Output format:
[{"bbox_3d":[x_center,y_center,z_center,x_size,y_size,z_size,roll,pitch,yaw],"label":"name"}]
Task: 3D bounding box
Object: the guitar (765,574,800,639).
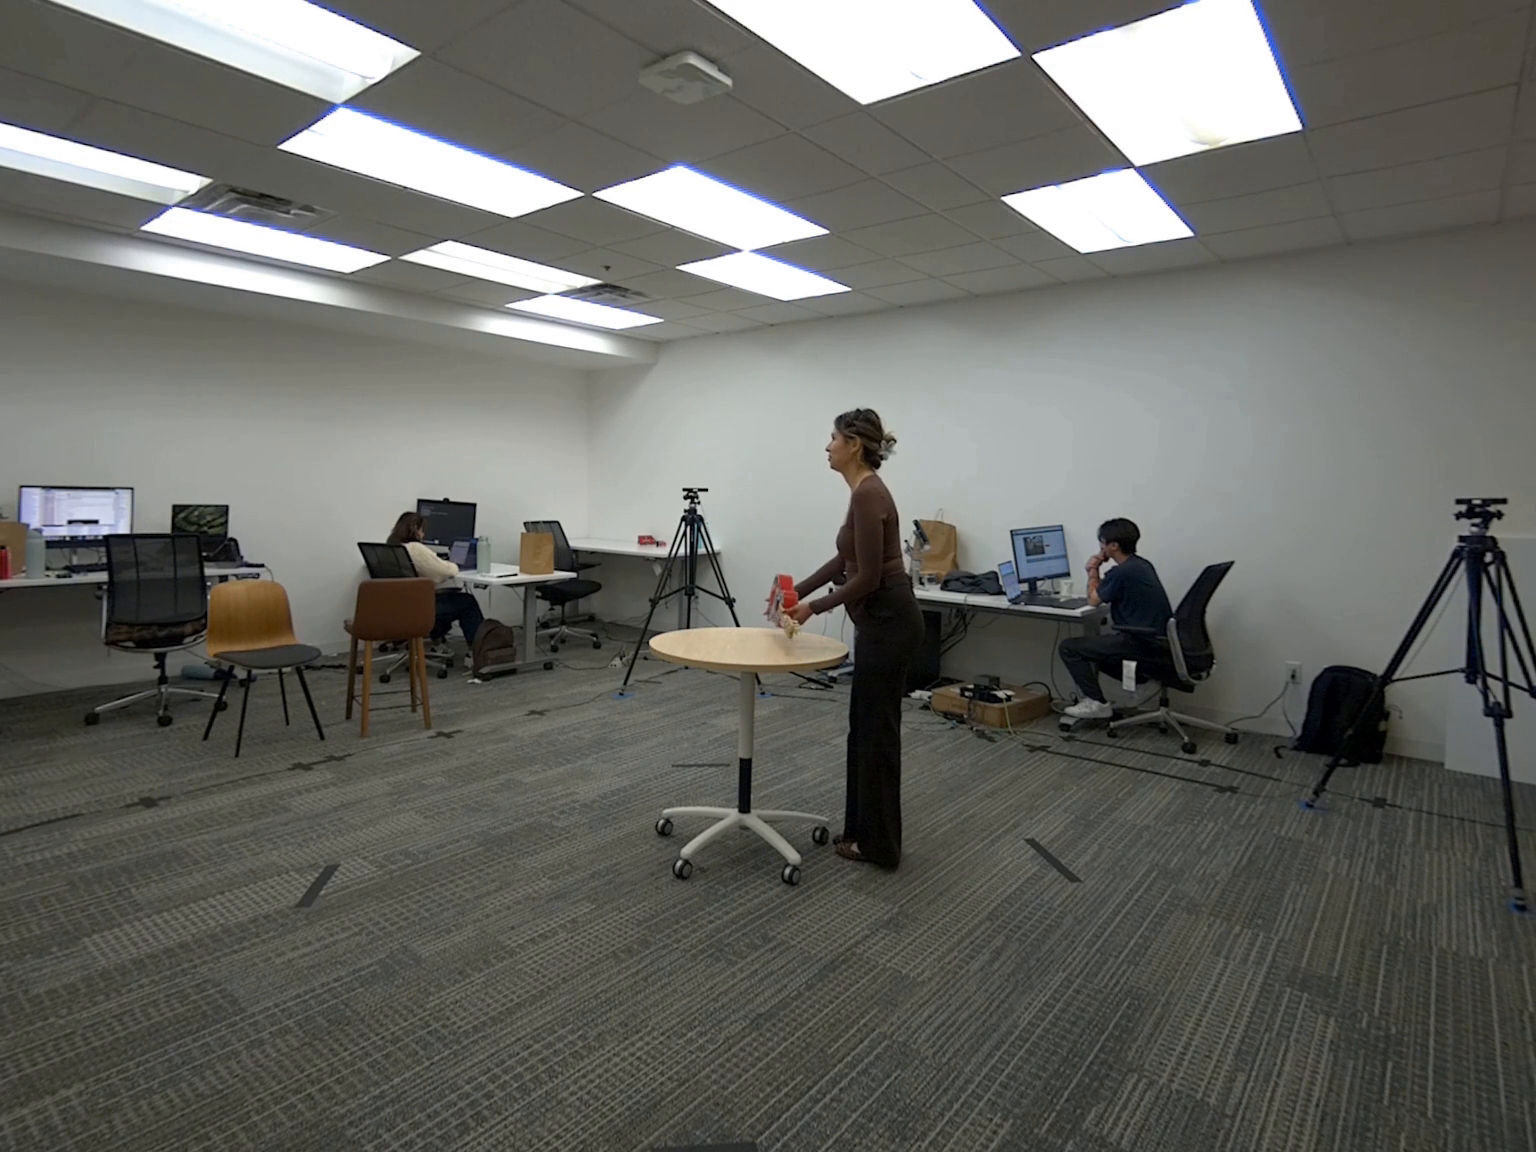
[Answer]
[{"bbox_3d":[0.062,0.158,3.277,0.070,0.191,0.510,12,20,-13],"label":"guitar"}]
